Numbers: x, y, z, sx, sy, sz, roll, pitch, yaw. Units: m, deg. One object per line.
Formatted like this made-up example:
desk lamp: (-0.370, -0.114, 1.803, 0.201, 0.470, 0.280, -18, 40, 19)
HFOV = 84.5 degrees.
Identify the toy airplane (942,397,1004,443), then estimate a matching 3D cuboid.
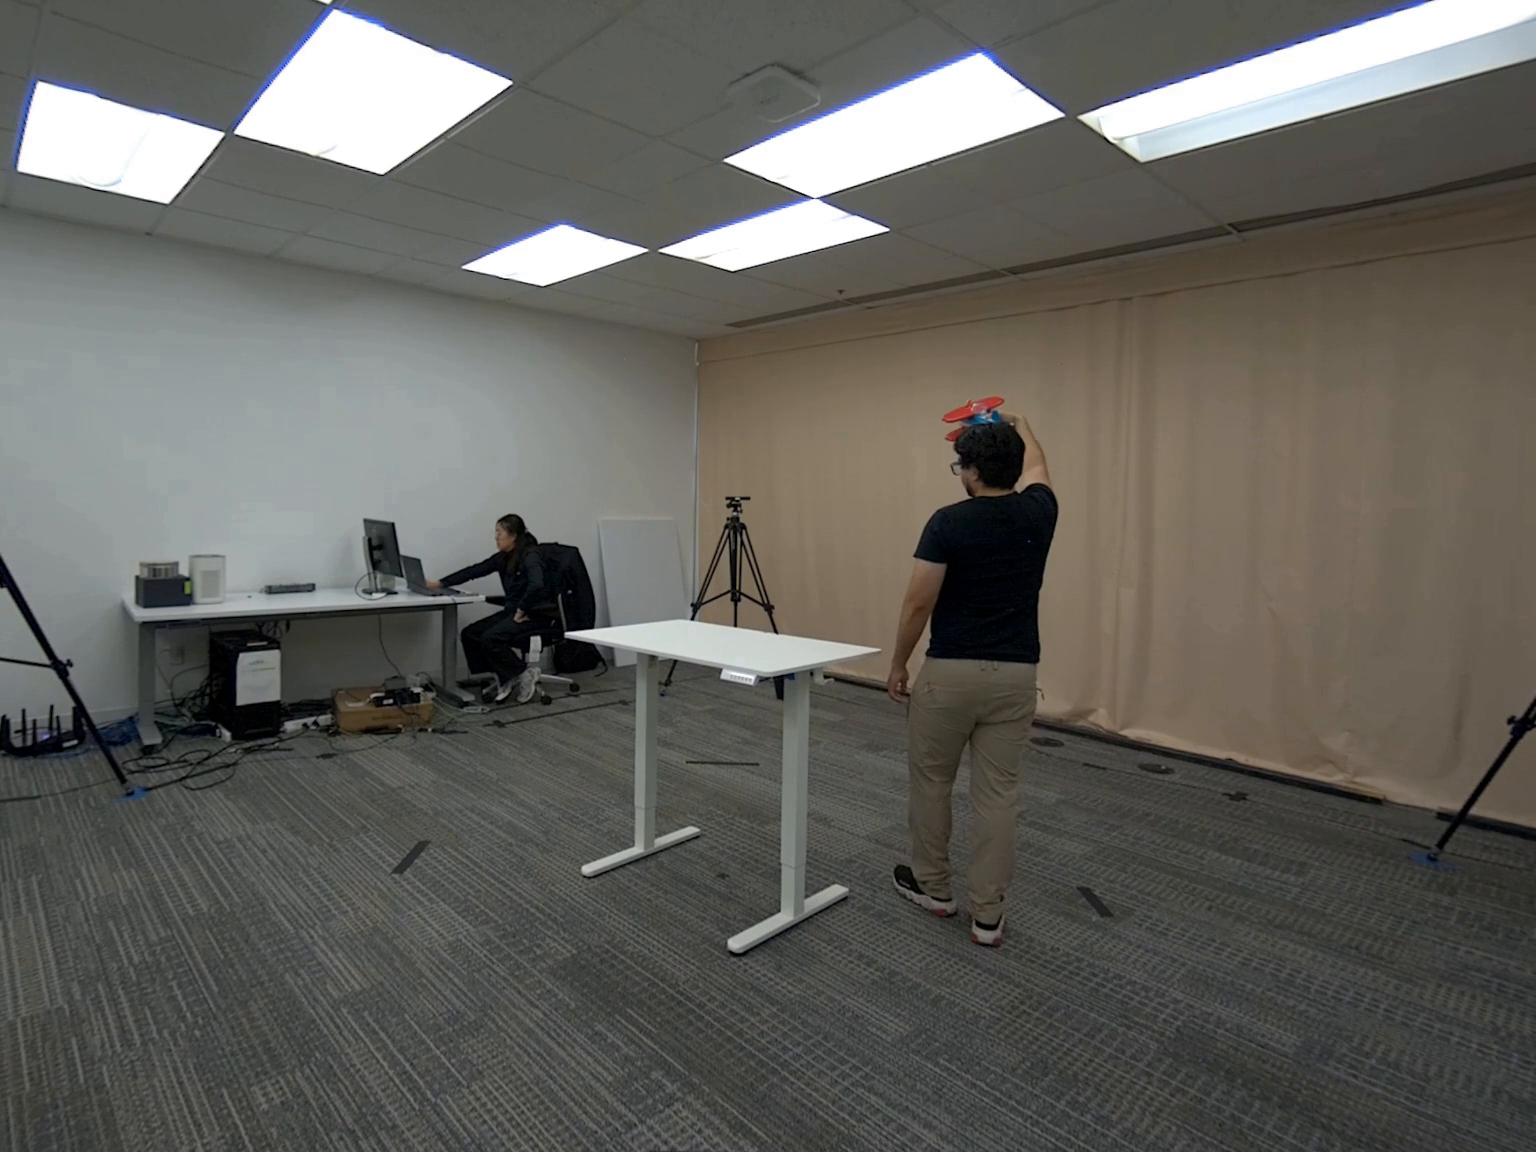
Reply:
toy airplane: (0.819, -0.586, 3.205, 0.249, 0.154, 0.265, -31, 17, -38)
